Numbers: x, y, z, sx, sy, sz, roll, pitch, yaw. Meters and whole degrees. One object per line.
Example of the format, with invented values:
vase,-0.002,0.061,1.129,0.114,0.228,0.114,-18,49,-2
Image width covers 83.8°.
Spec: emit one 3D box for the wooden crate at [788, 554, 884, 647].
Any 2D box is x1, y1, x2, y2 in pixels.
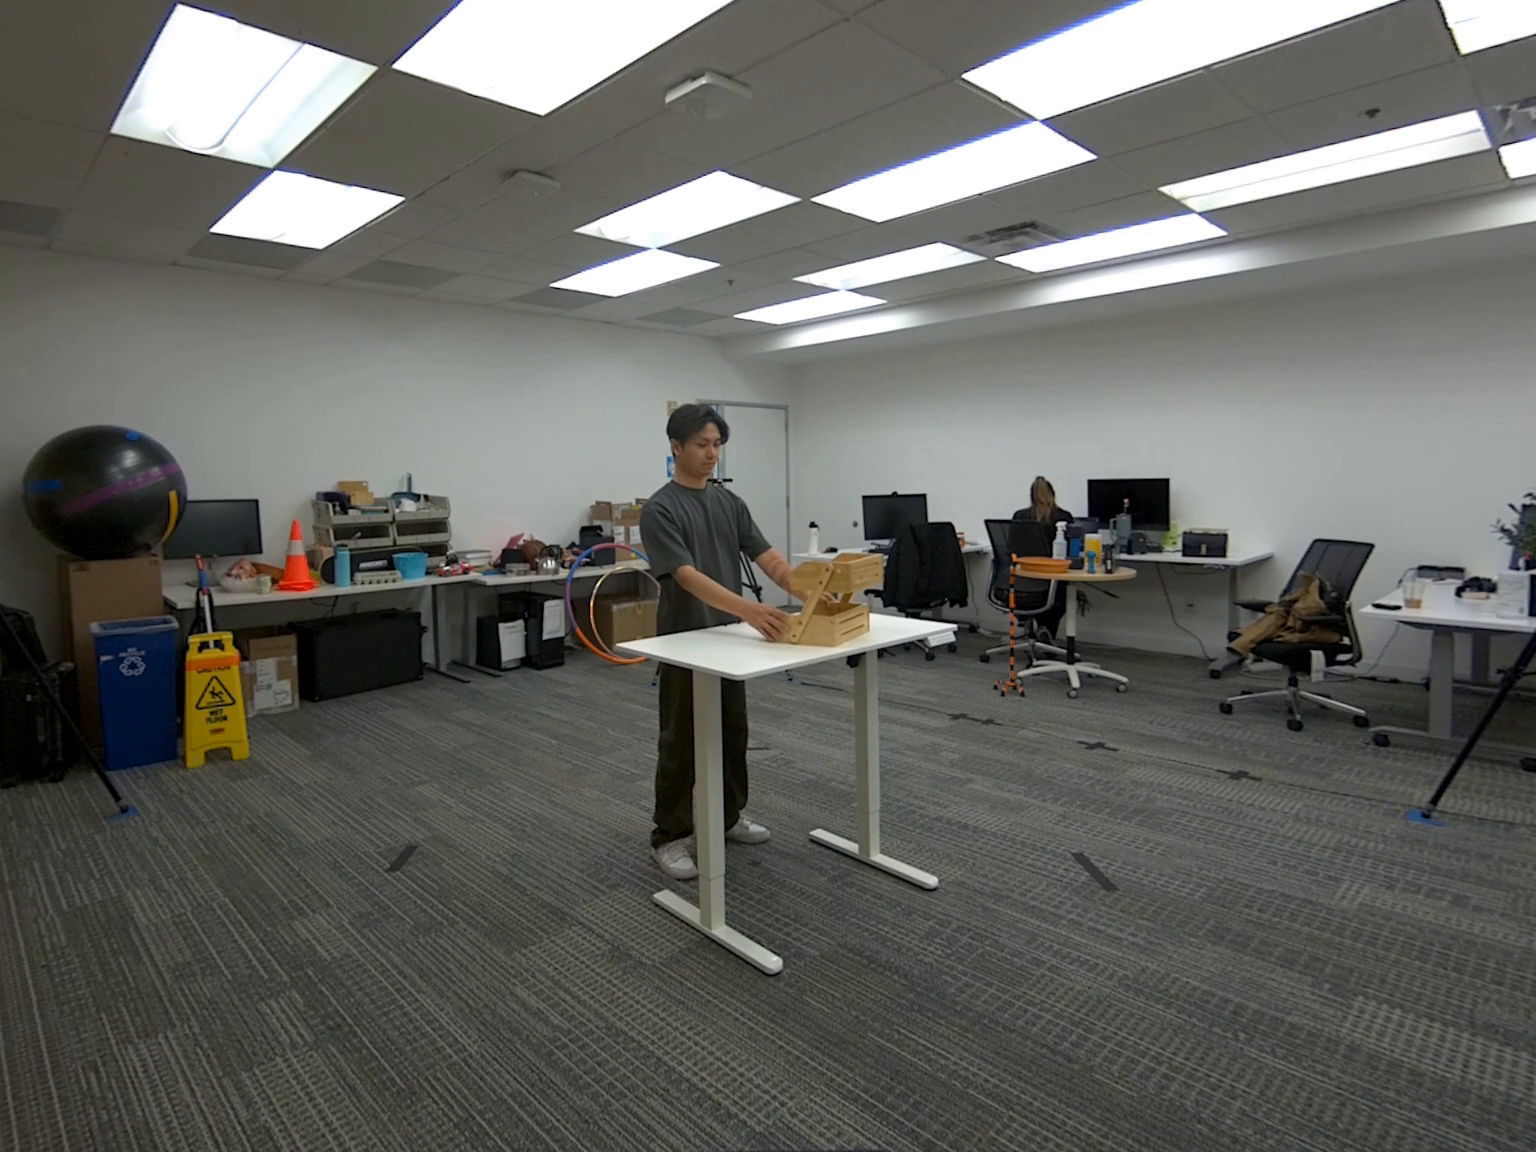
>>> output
wooden crate,0.182,0.065,2.758,0.310,0.272,0.318,2,6,29
